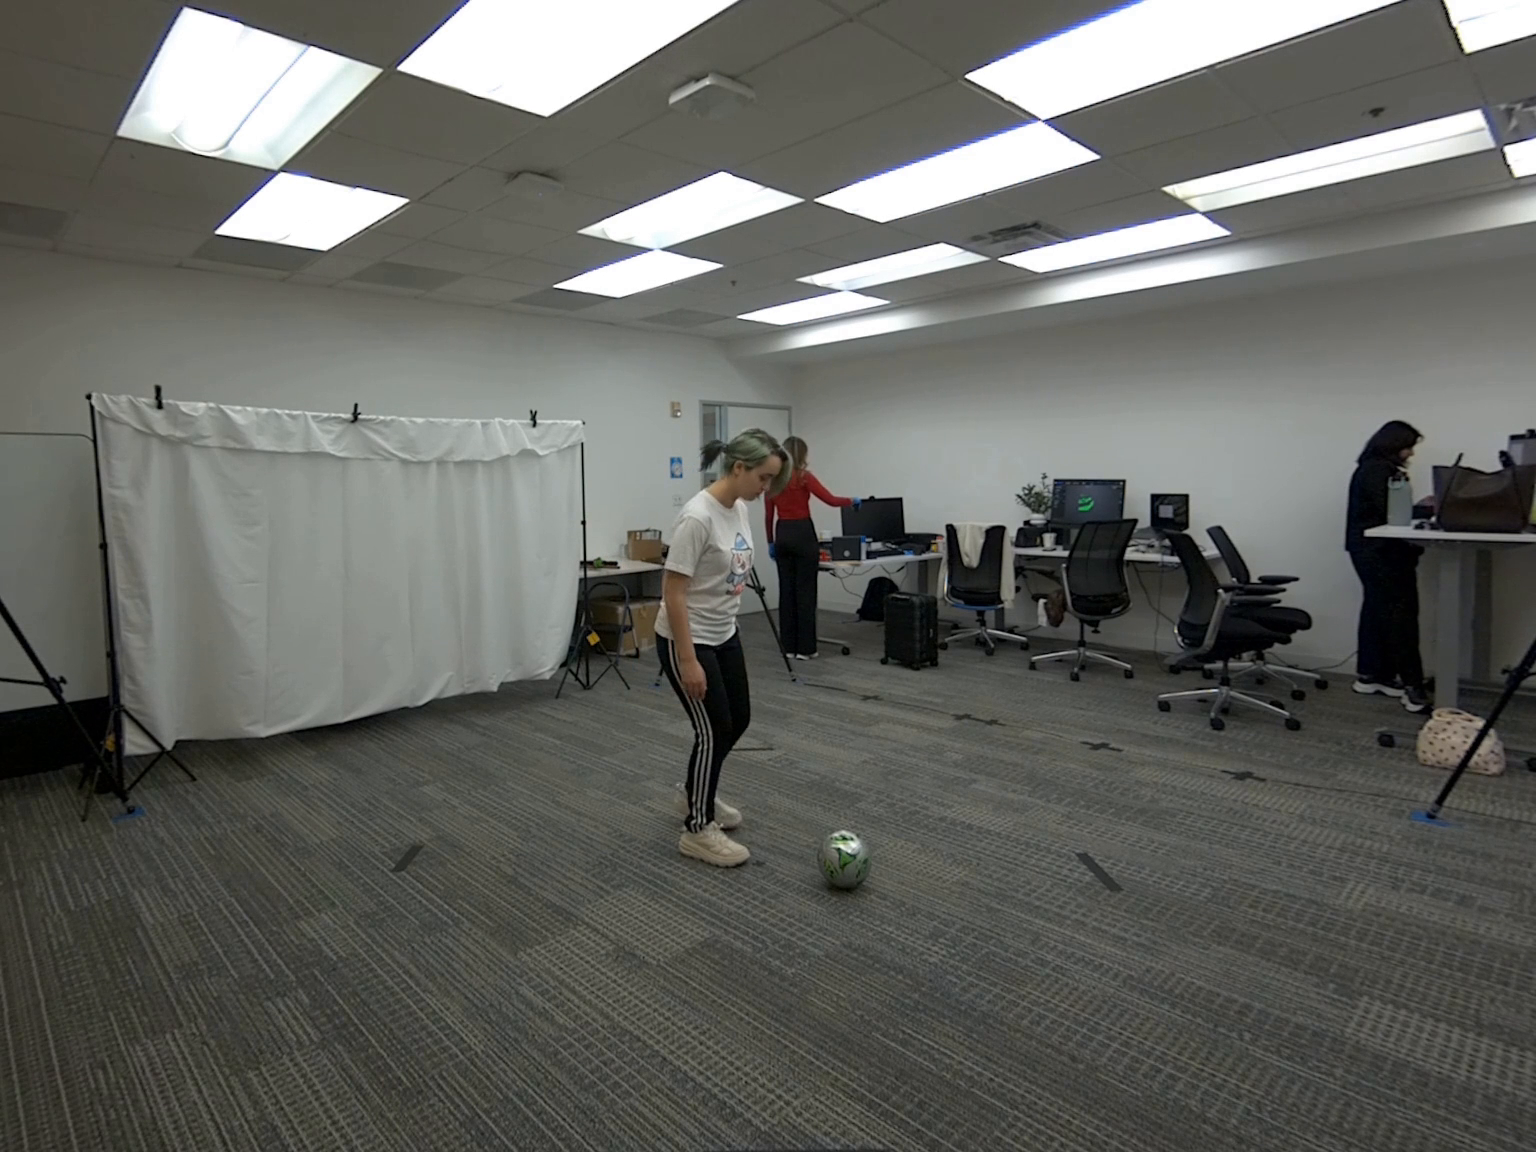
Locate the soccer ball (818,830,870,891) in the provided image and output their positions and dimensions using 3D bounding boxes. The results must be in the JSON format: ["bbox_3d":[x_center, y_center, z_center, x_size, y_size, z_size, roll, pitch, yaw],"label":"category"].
[{"bbox_3d":[0.262,0.968,2.918,0.187,0.187,0.188,-1,5,-2],"label":"soccer ball"}]
